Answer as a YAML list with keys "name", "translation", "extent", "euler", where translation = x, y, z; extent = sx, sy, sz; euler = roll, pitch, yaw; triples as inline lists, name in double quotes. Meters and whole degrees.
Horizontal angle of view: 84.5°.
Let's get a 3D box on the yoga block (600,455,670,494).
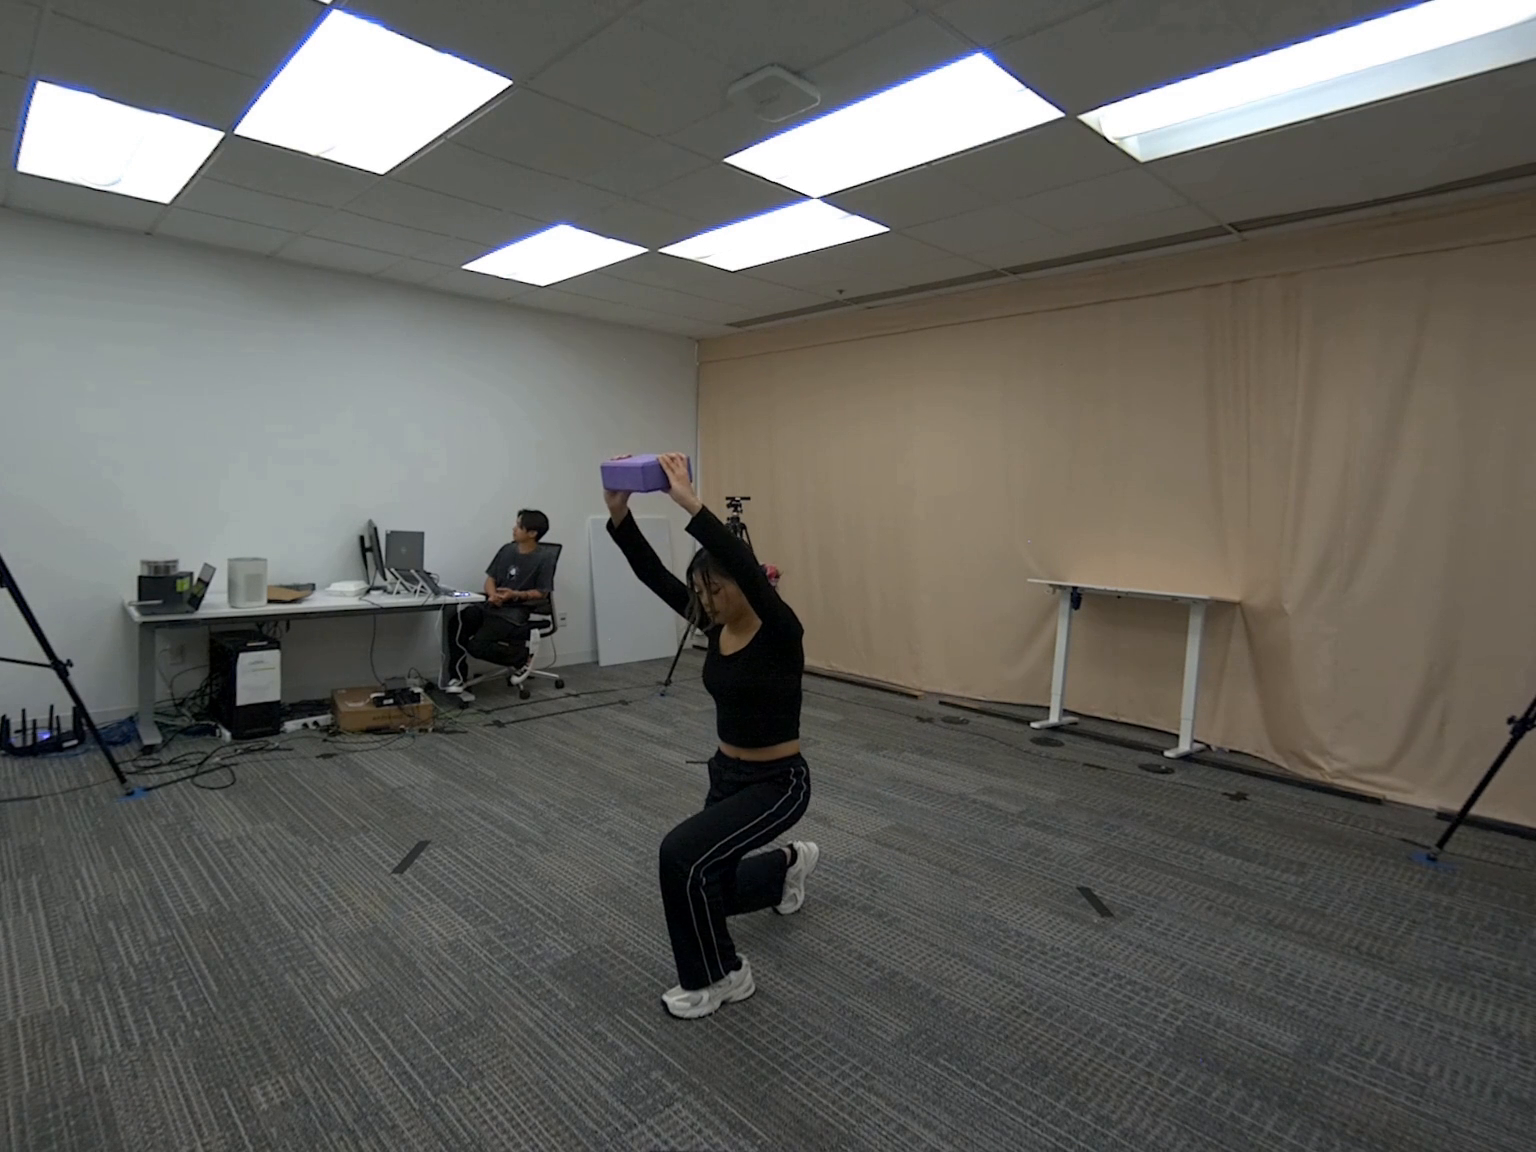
- name: "yoga block"
  translation: [-0.319, -0.271, 2.178]
  extent: [0.146, 0.076, 0.235]
  euler: [-16, 16, -34]
